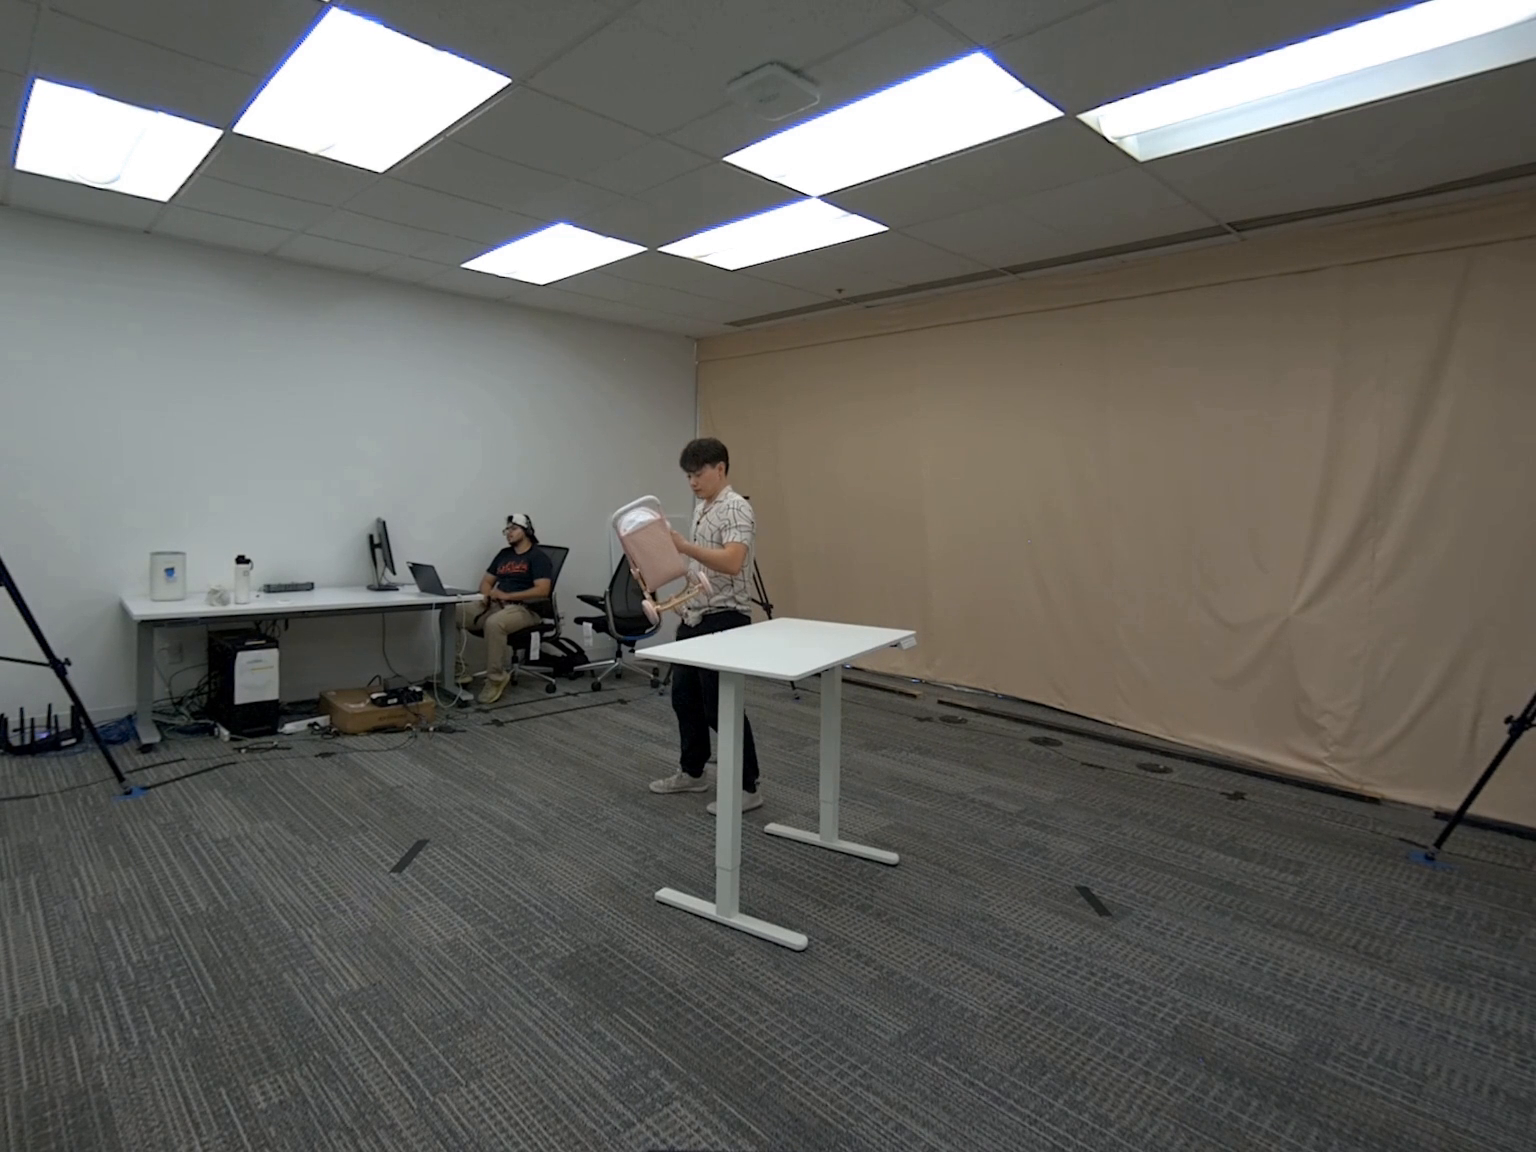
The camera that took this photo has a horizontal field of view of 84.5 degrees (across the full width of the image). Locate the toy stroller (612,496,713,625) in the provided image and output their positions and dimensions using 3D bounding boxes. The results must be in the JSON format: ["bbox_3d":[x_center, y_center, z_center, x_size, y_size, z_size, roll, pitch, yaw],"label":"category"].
[{"bbox_3d":[-0.461,-0.056,3.470,0.280,0.531,0.345,-28,8,-8],"label":"toy stroller"}]
